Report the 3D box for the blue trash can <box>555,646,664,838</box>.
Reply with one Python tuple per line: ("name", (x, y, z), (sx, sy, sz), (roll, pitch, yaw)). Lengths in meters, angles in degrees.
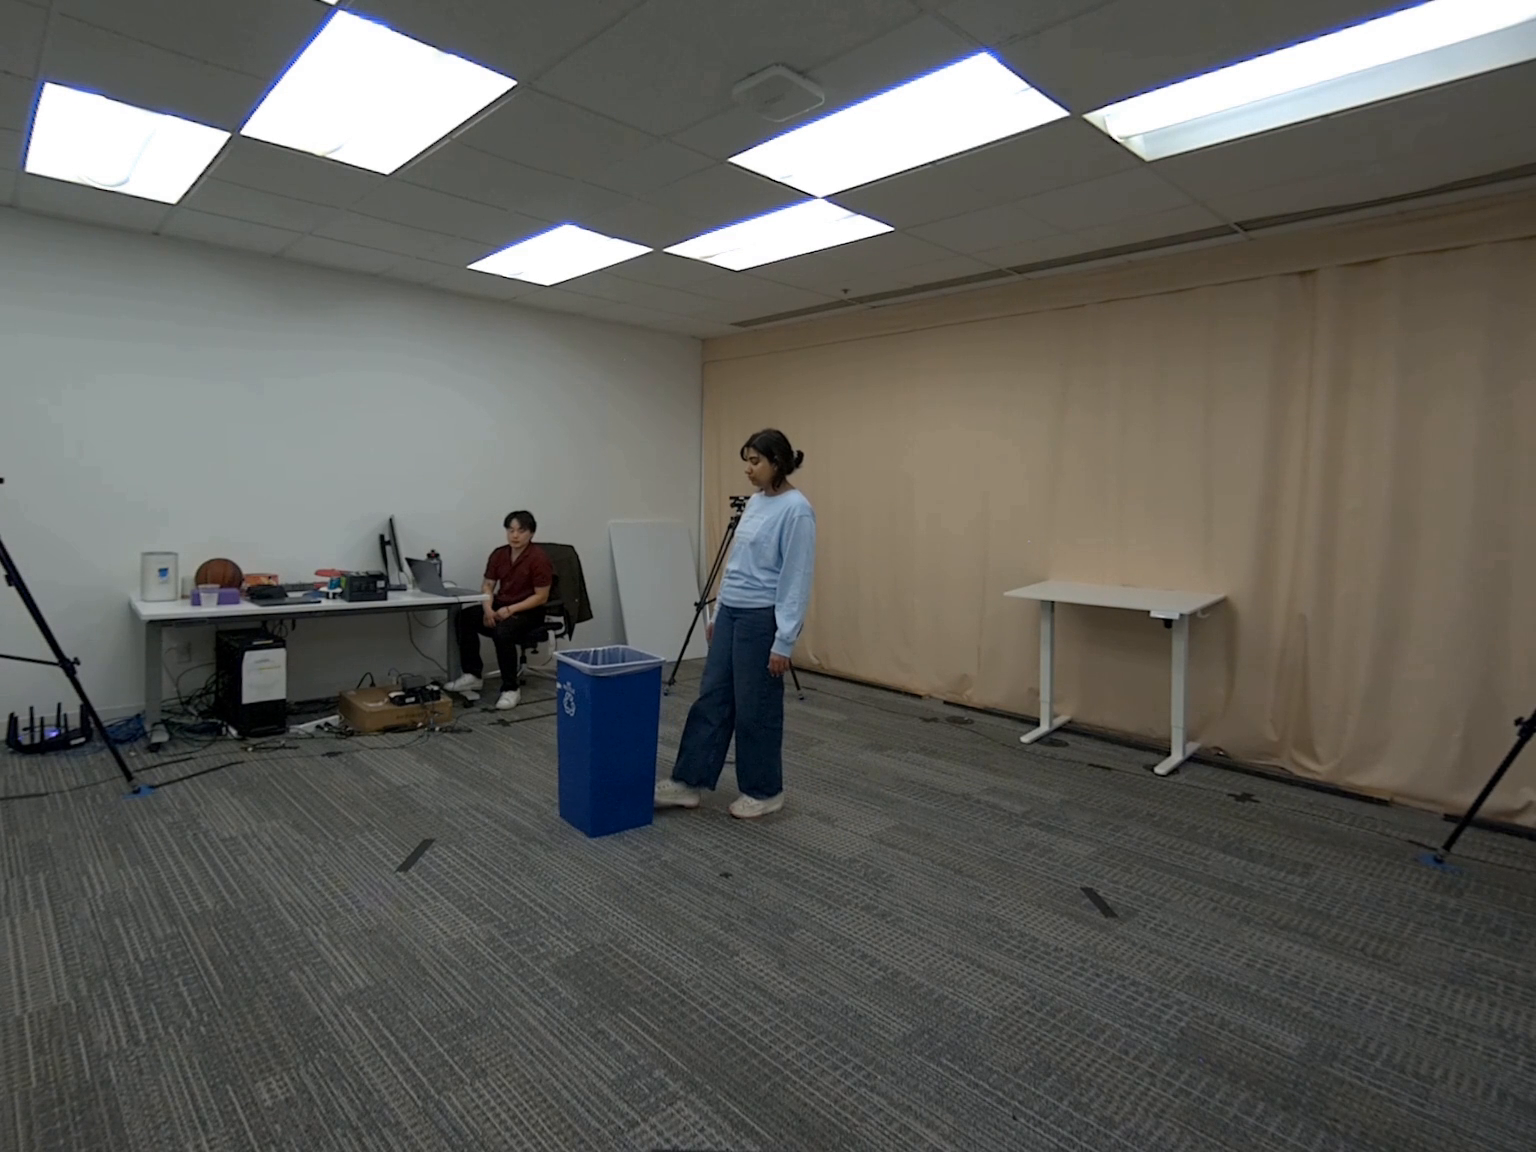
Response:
("blue trash can", (-0.696, 0.695, 3.588), (0.365, 0.712, 0.388), (-1, 5, -40))
